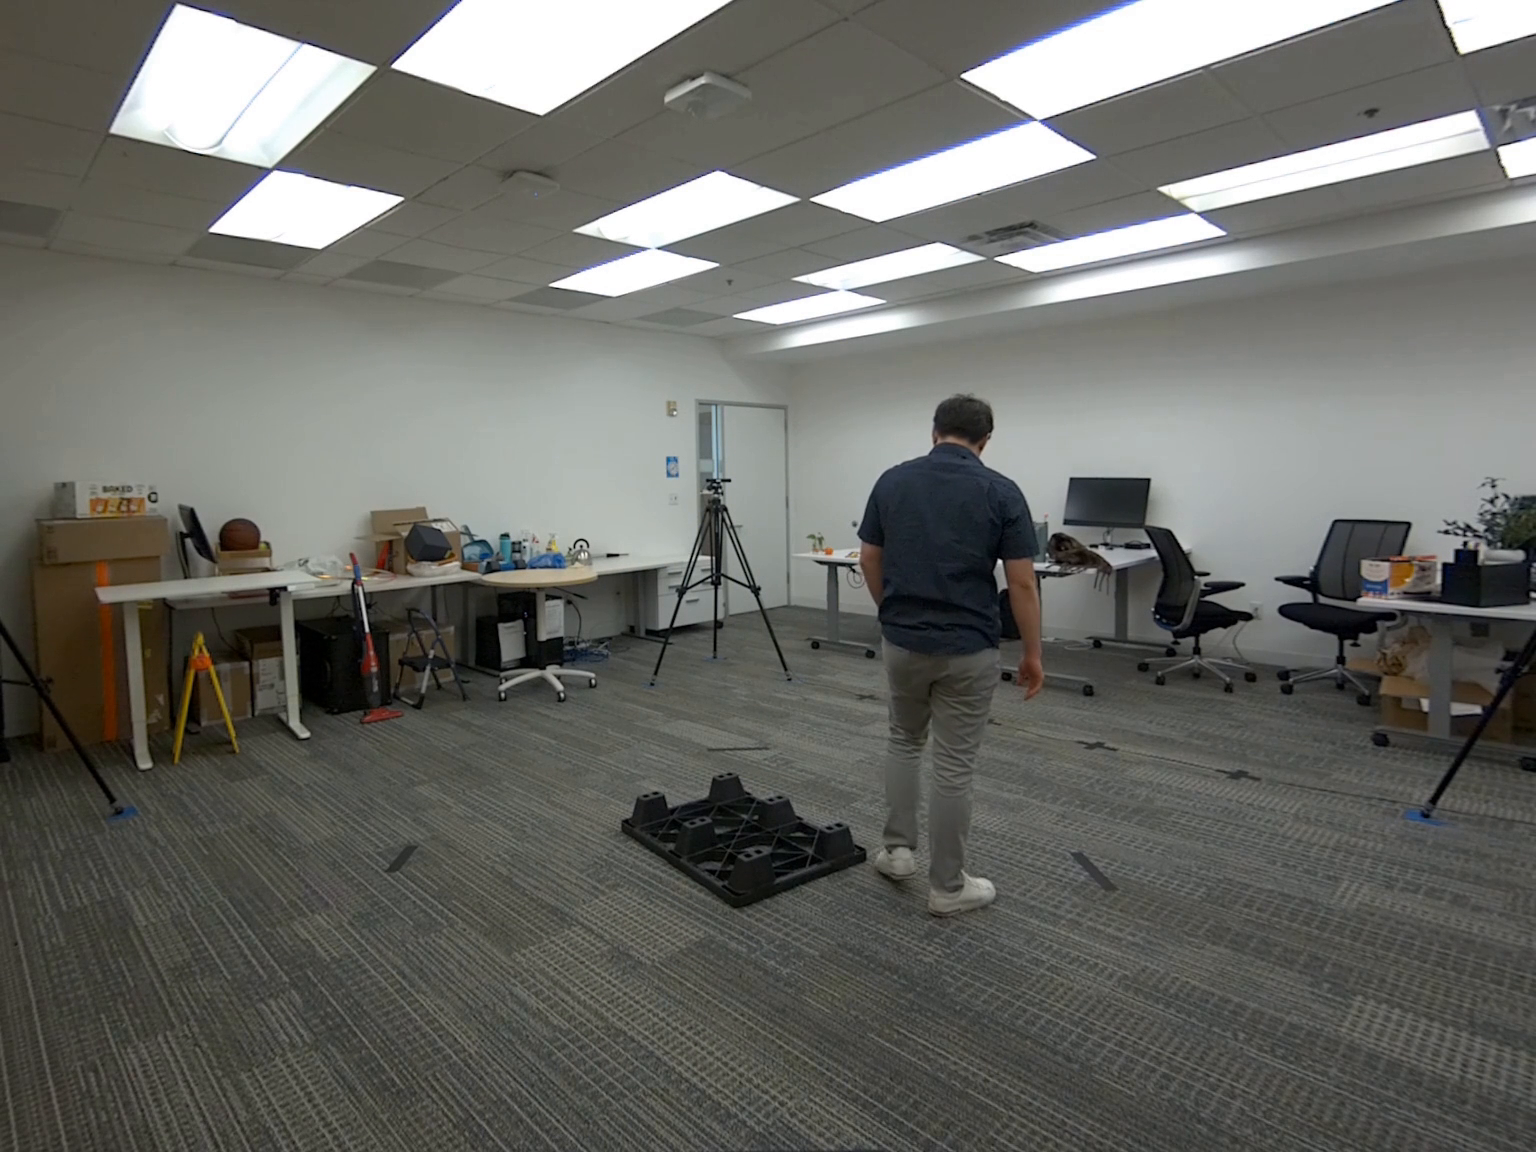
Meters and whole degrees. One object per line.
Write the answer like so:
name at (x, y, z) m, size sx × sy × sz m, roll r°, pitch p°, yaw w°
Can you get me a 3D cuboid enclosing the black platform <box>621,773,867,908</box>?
black platform at (-0.107, 0.962, 3.265) m, size 0.590 × 0.142 × 0.830 m, roll -6°, pitch 9°, yaw -37°
